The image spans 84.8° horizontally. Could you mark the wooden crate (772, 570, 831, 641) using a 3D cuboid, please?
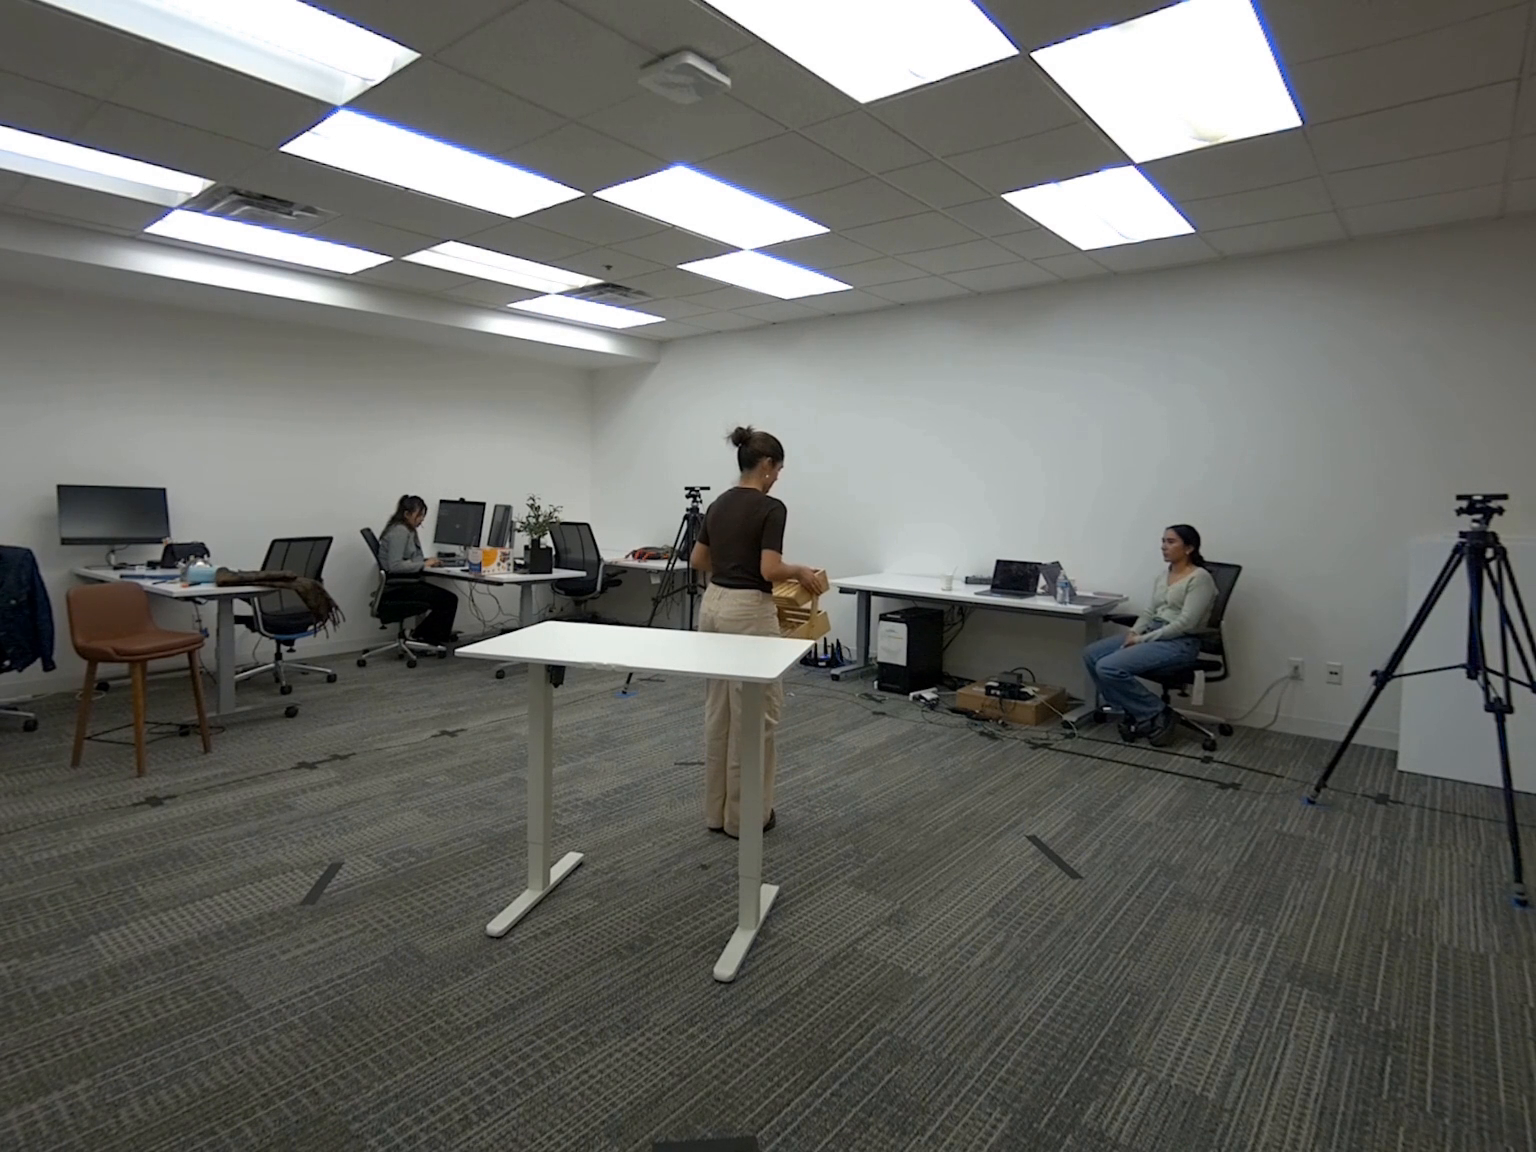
[{"bbox_3d":[0.057,0.129,3.640,0.335,0.269,0.297,2,22,46],"label":"wooden crate"}]
